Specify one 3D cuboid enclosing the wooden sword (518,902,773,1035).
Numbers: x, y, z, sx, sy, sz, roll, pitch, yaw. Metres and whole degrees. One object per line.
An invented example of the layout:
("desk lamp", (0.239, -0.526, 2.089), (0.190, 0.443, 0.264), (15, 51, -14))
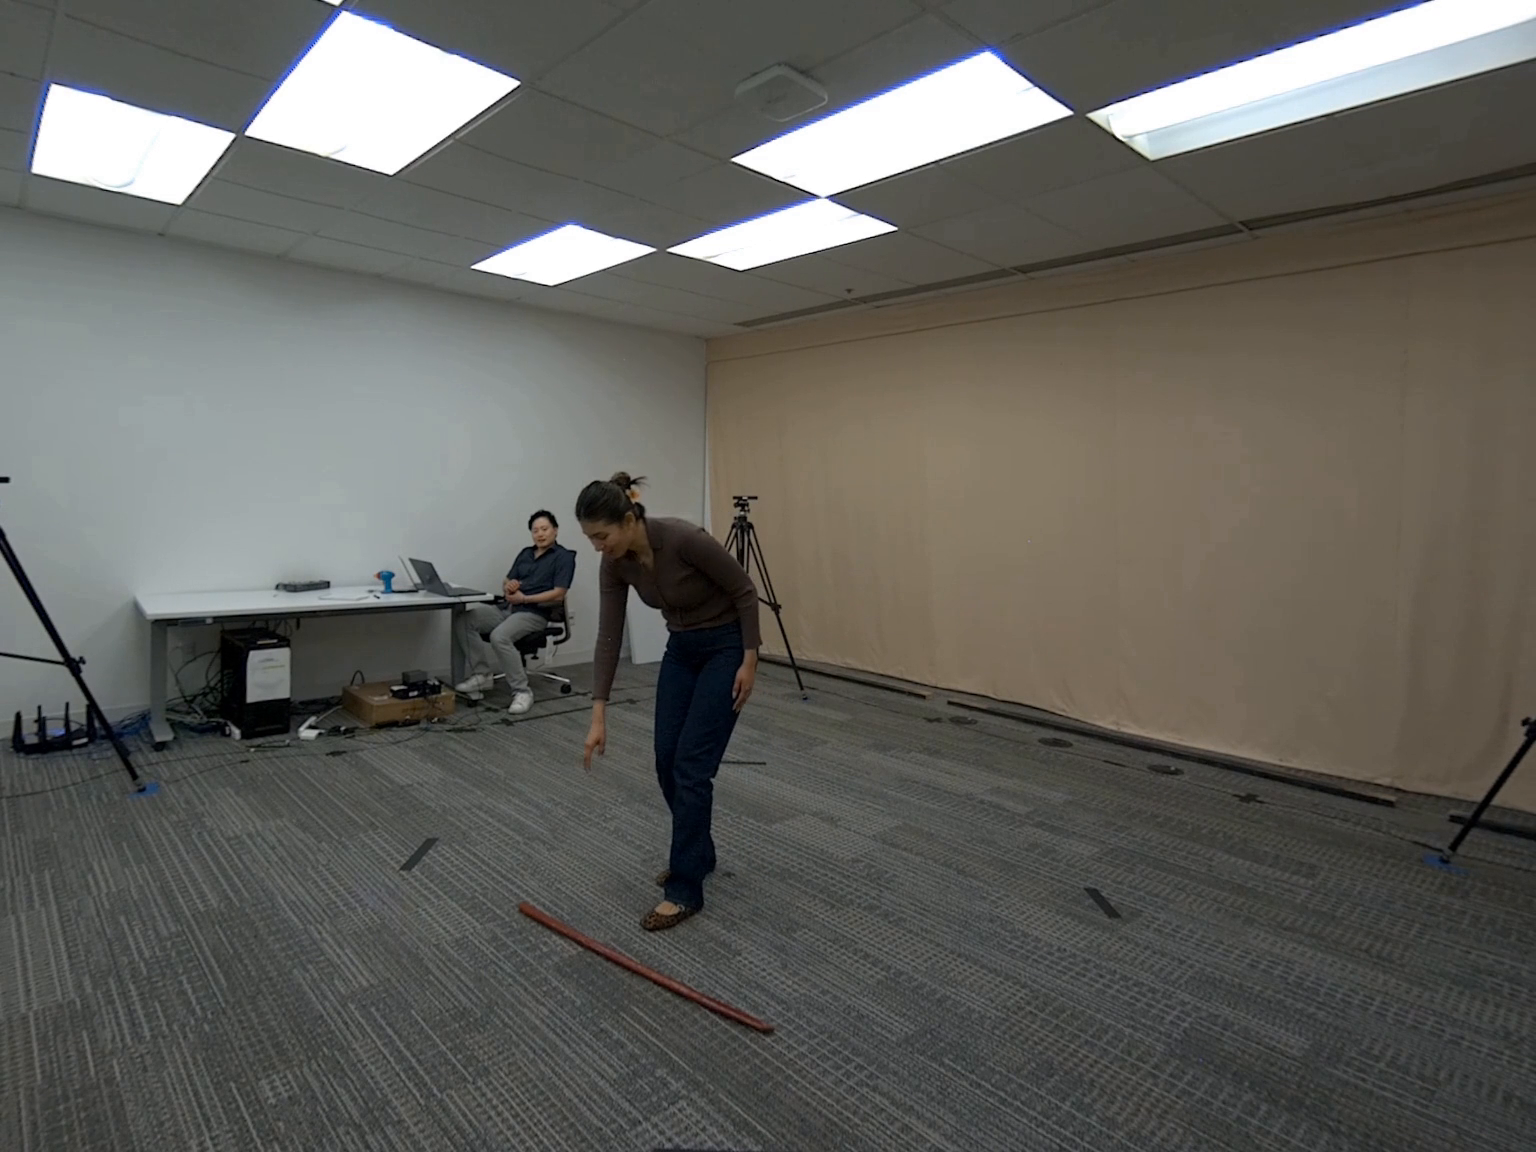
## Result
("wooden sword", (-0.421, 1.131, 2.501), (1.050, 0.024, 0.050), (6, 9, 37))
